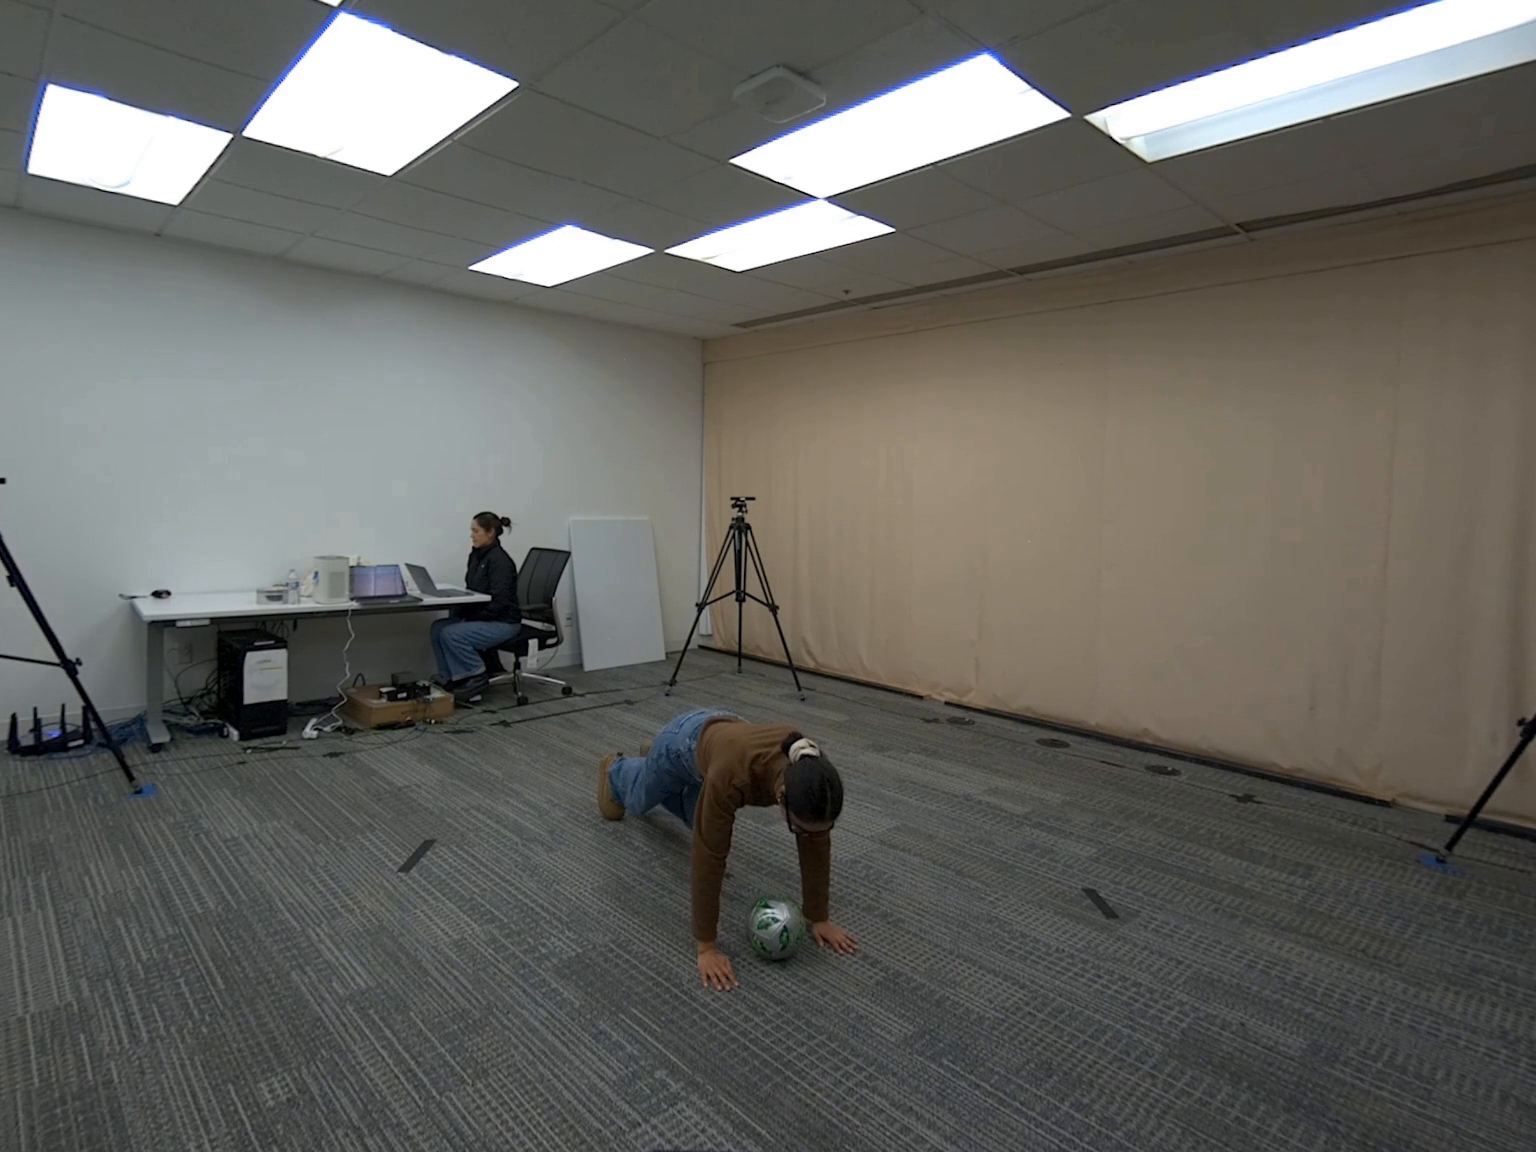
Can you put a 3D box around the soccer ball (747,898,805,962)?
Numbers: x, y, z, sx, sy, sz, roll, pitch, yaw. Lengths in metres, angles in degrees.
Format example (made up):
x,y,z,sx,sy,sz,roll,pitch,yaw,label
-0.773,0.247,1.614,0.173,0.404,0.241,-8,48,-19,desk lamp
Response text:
x,y,z,sx,sy,sz,roll,pitch,yaw,label
0.017,1.070,2.560,0.187,0.187,0.188,1,4,-1,soccer ball
